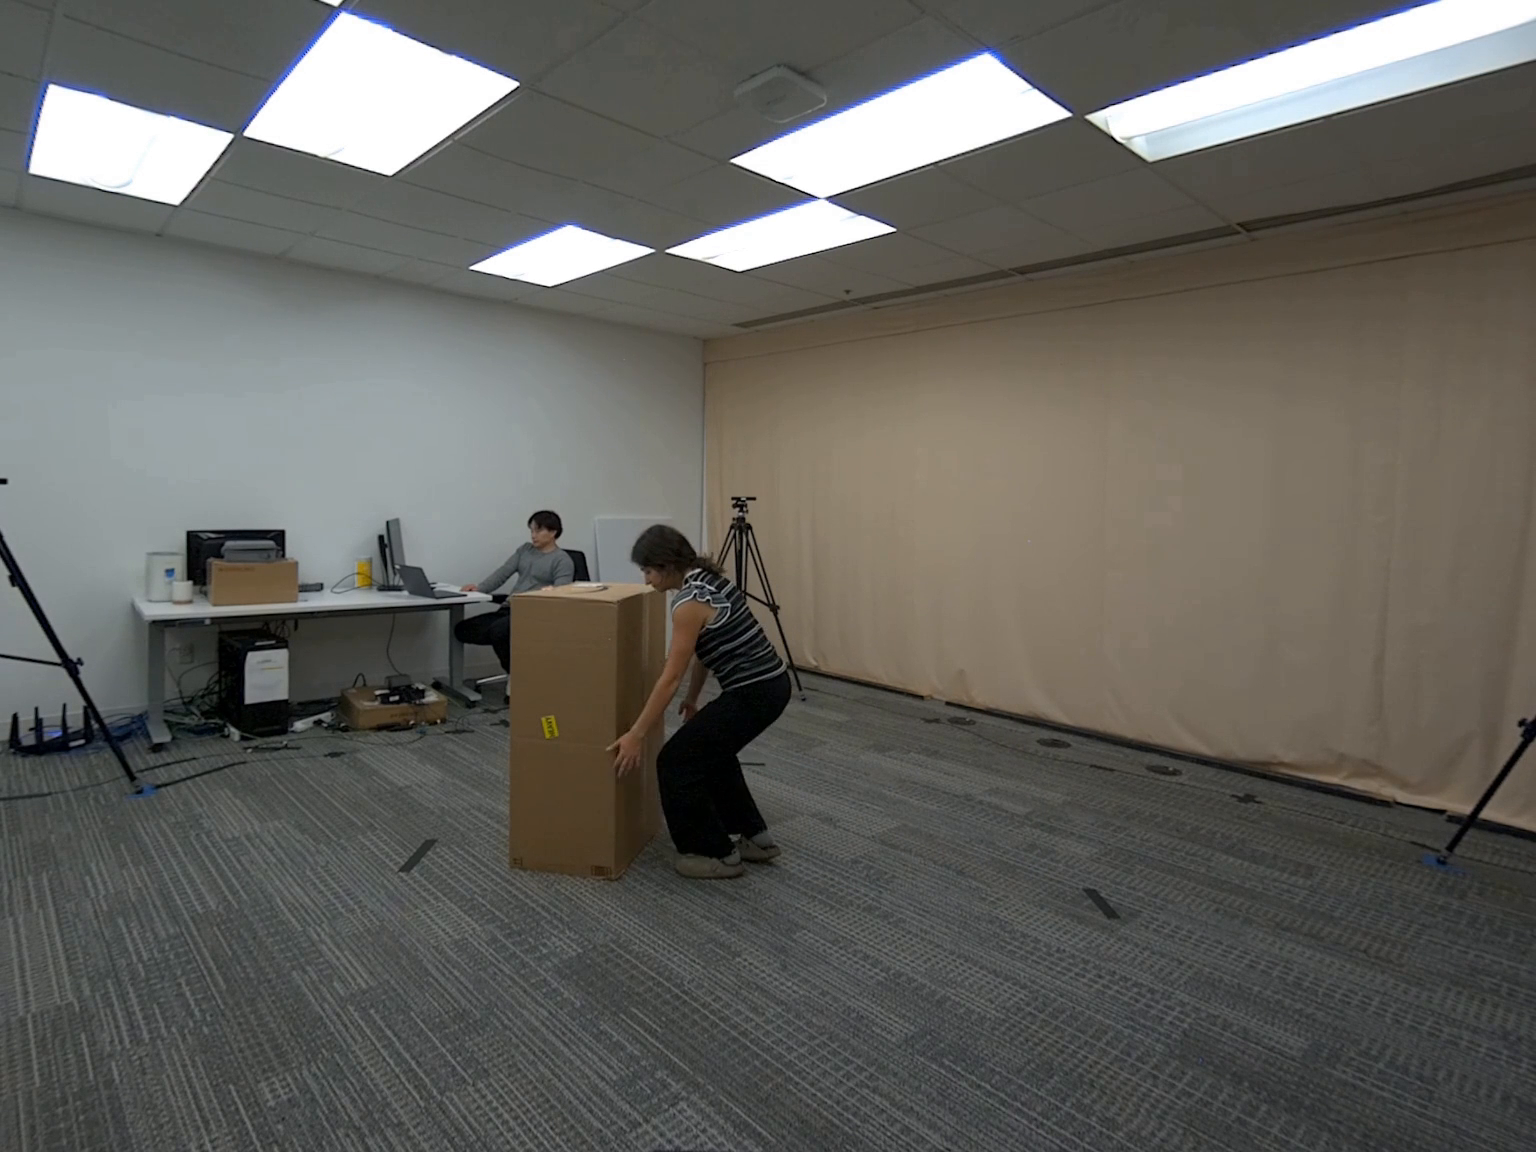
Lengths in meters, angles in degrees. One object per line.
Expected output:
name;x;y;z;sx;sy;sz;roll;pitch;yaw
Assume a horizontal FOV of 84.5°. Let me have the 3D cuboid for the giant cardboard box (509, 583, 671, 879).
giant cardboard box;-0.707;0.565;3.339;0.430;1.023;0.573;2;3;12
